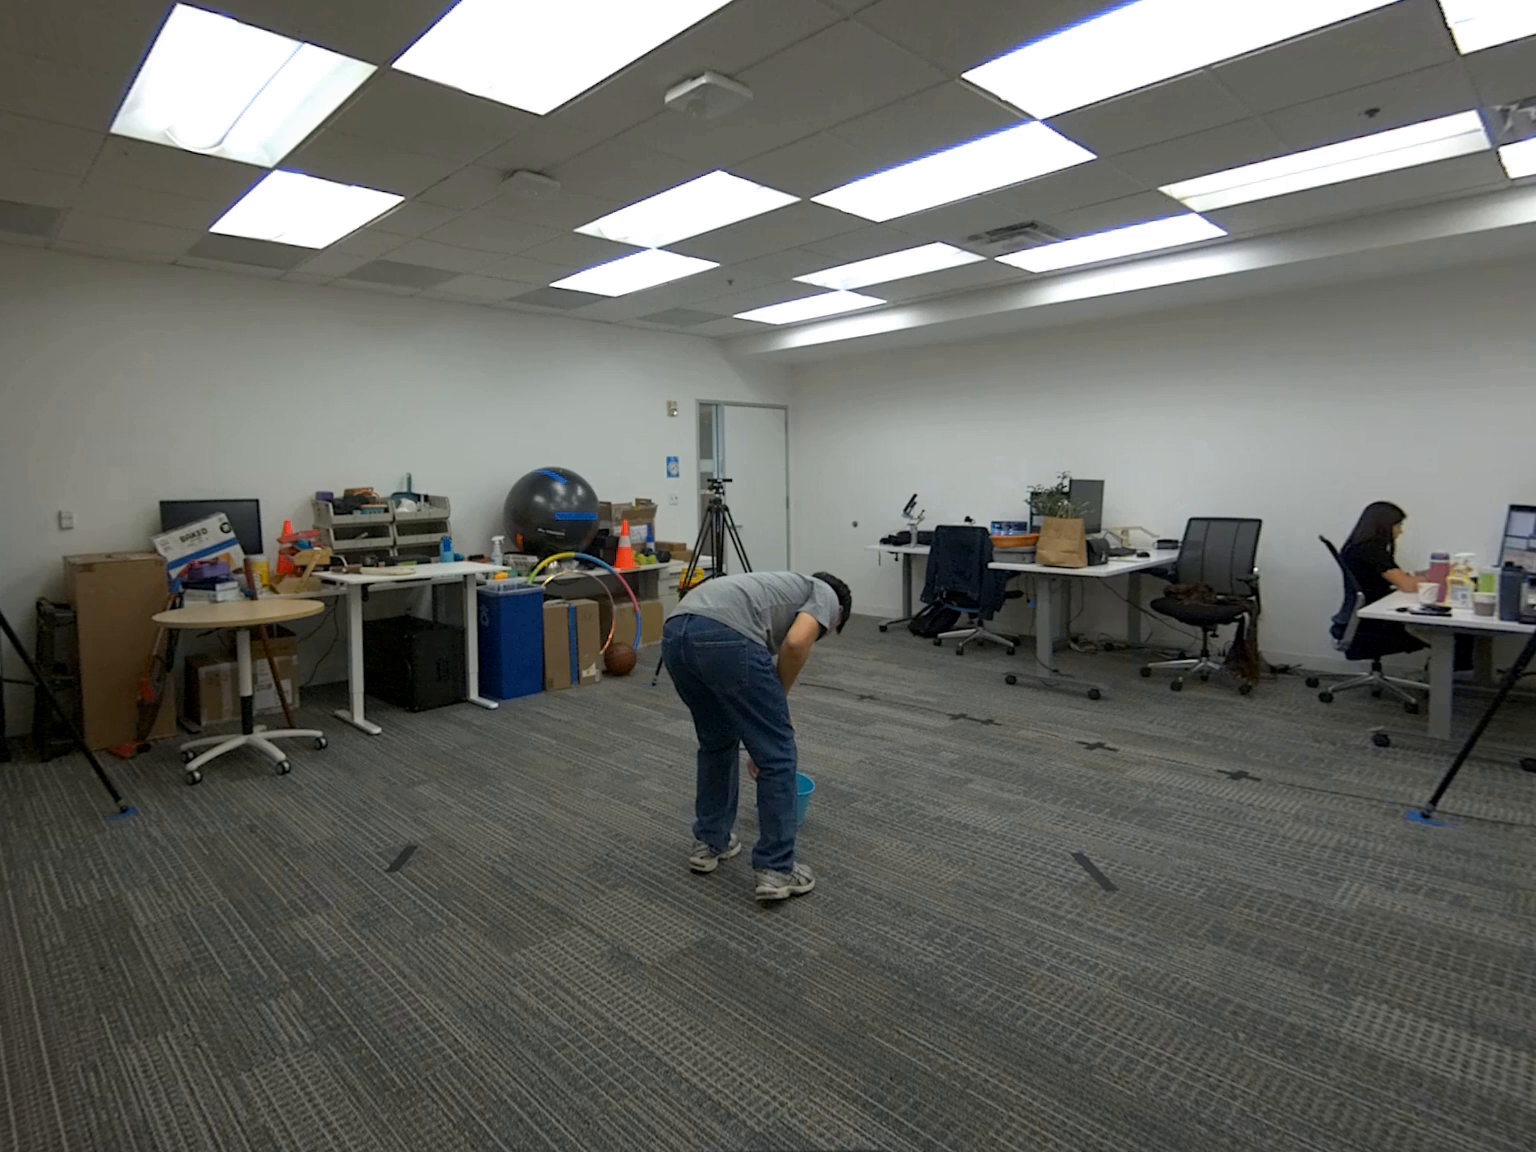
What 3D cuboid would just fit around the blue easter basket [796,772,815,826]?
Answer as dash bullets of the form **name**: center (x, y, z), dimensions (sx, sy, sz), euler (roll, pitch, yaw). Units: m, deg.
- **blue easter basket**: center (0.076, 0.910, 3.497), dimensions (0.243, 0.155, 0.246), euler (8, 9, -3)
